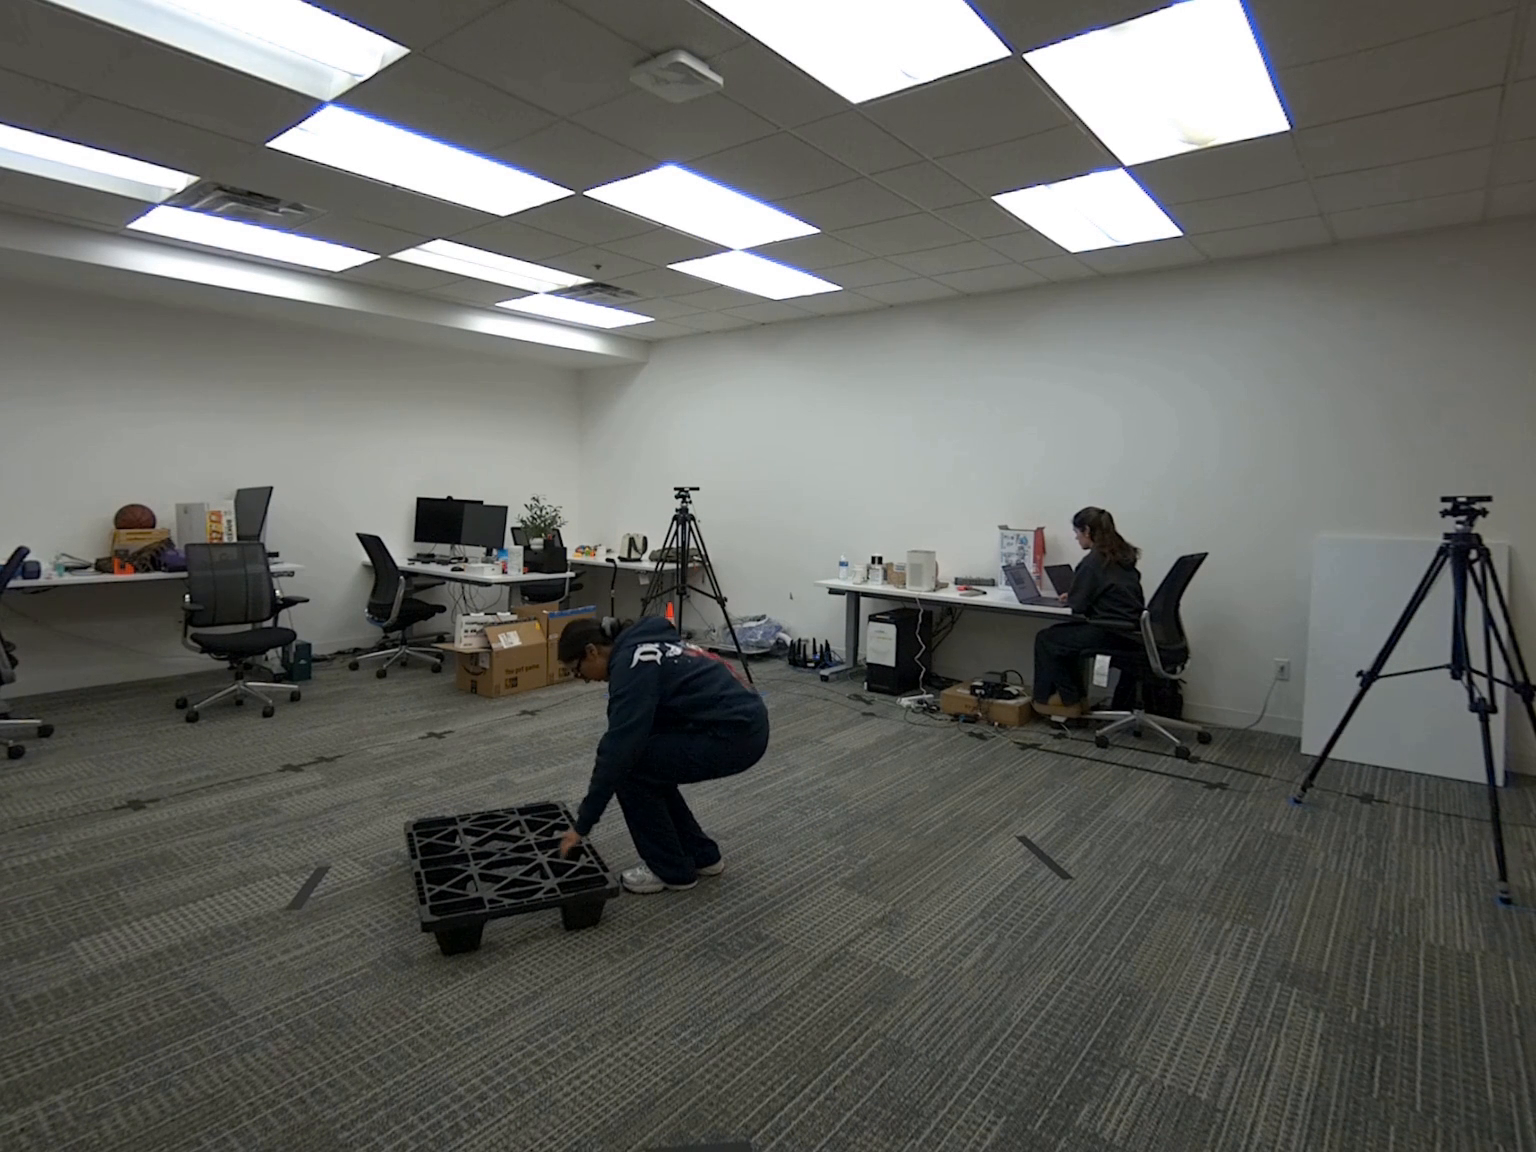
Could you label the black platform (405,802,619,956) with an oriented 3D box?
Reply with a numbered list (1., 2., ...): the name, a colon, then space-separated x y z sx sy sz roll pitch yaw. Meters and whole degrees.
1. black platform: -0.922 1.007 2.929 0.591 0.143 0.828 -2 6 -26
